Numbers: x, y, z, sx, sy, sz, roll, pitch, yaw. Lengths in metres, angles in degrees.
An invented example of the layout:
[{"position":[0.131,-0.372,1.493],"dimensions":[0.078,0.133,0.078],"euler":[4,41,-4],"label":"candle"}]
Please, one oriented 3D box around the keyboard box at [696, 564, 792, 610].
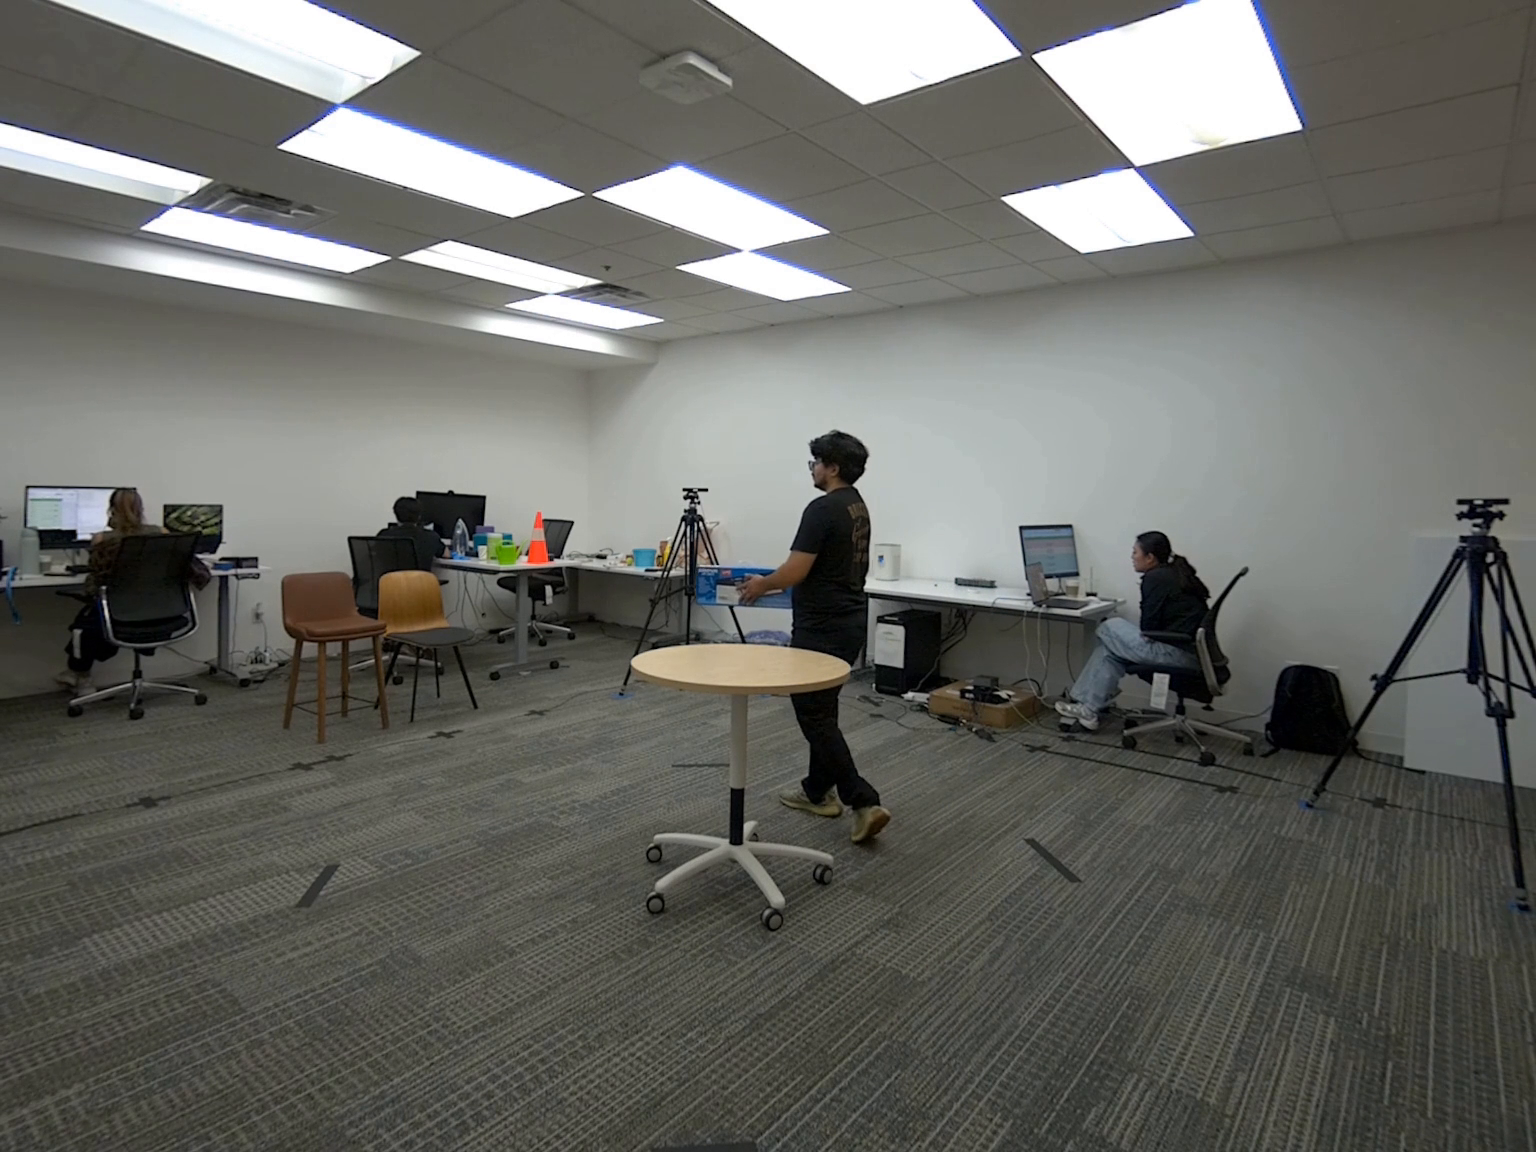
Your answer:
[{"position":[-0.103,0.045,3.744],"dimensions":[0.444,0.175,0.058],"euler":[2,6,16],"label":"keyboard box"}]
